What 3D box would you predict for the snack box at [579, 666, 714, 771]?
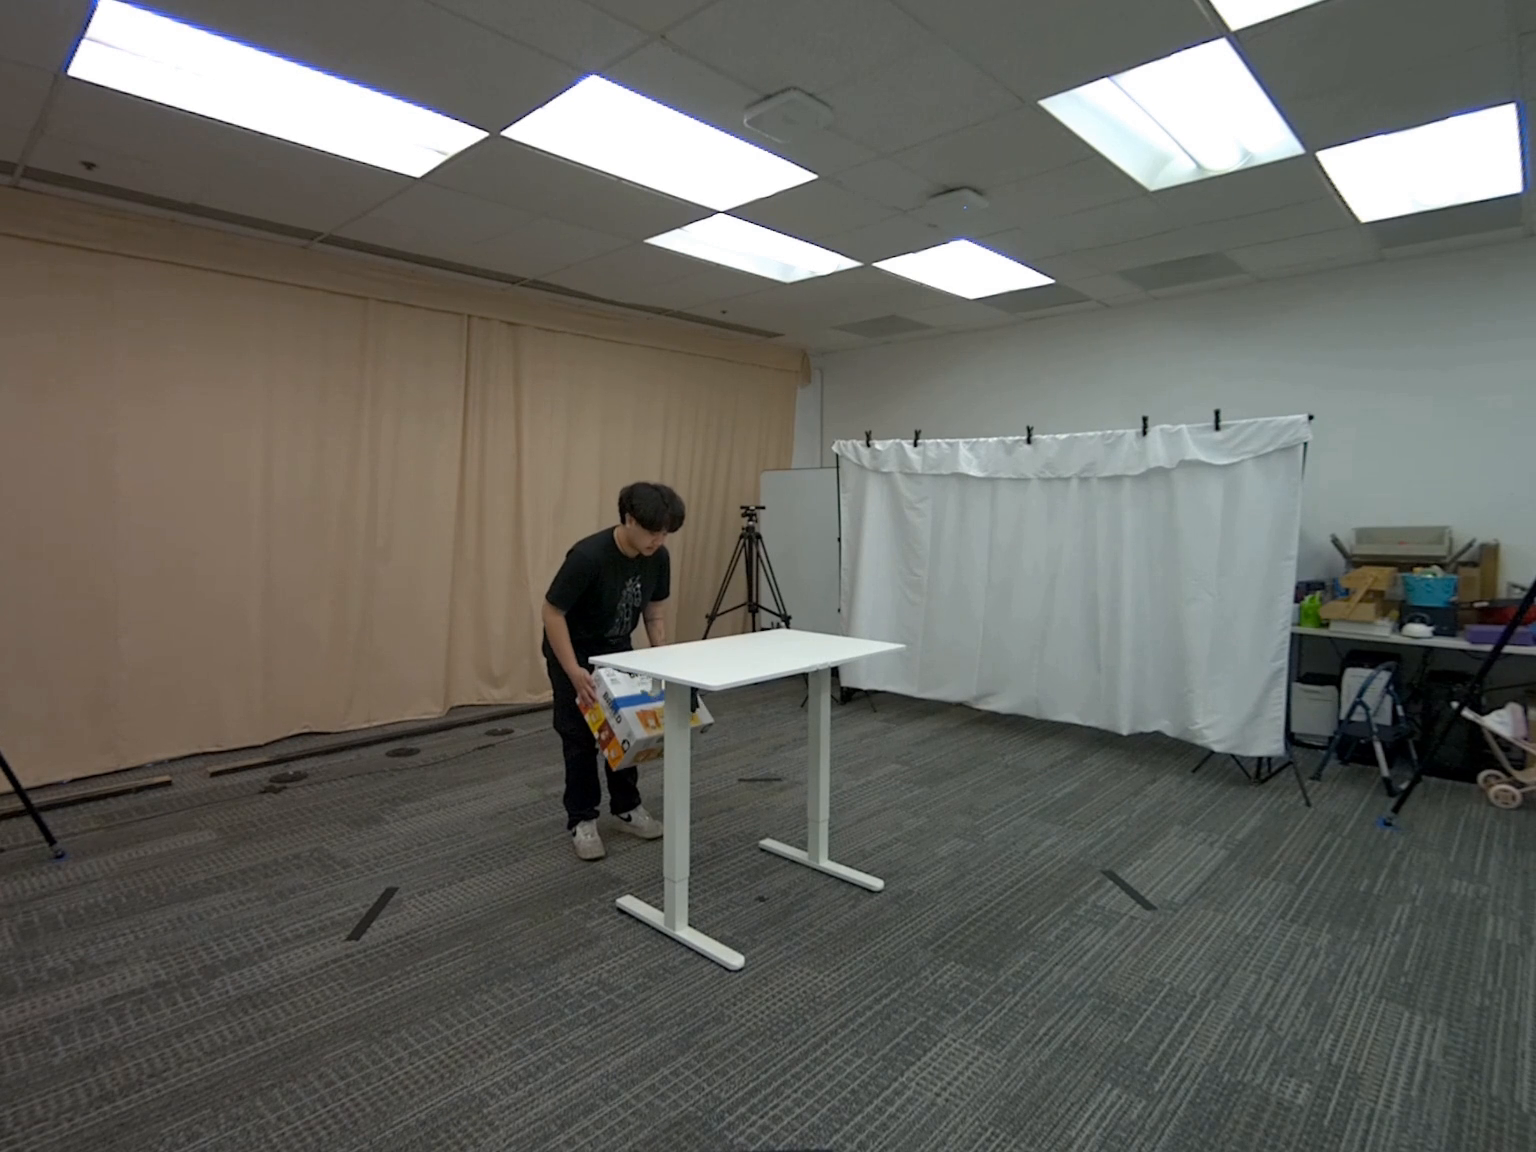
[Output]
[{"bbox_3d":[-0.484,0.532,3.331,0.392,0.206,0.350,-2,47,-46],"label":"snack box"}]
